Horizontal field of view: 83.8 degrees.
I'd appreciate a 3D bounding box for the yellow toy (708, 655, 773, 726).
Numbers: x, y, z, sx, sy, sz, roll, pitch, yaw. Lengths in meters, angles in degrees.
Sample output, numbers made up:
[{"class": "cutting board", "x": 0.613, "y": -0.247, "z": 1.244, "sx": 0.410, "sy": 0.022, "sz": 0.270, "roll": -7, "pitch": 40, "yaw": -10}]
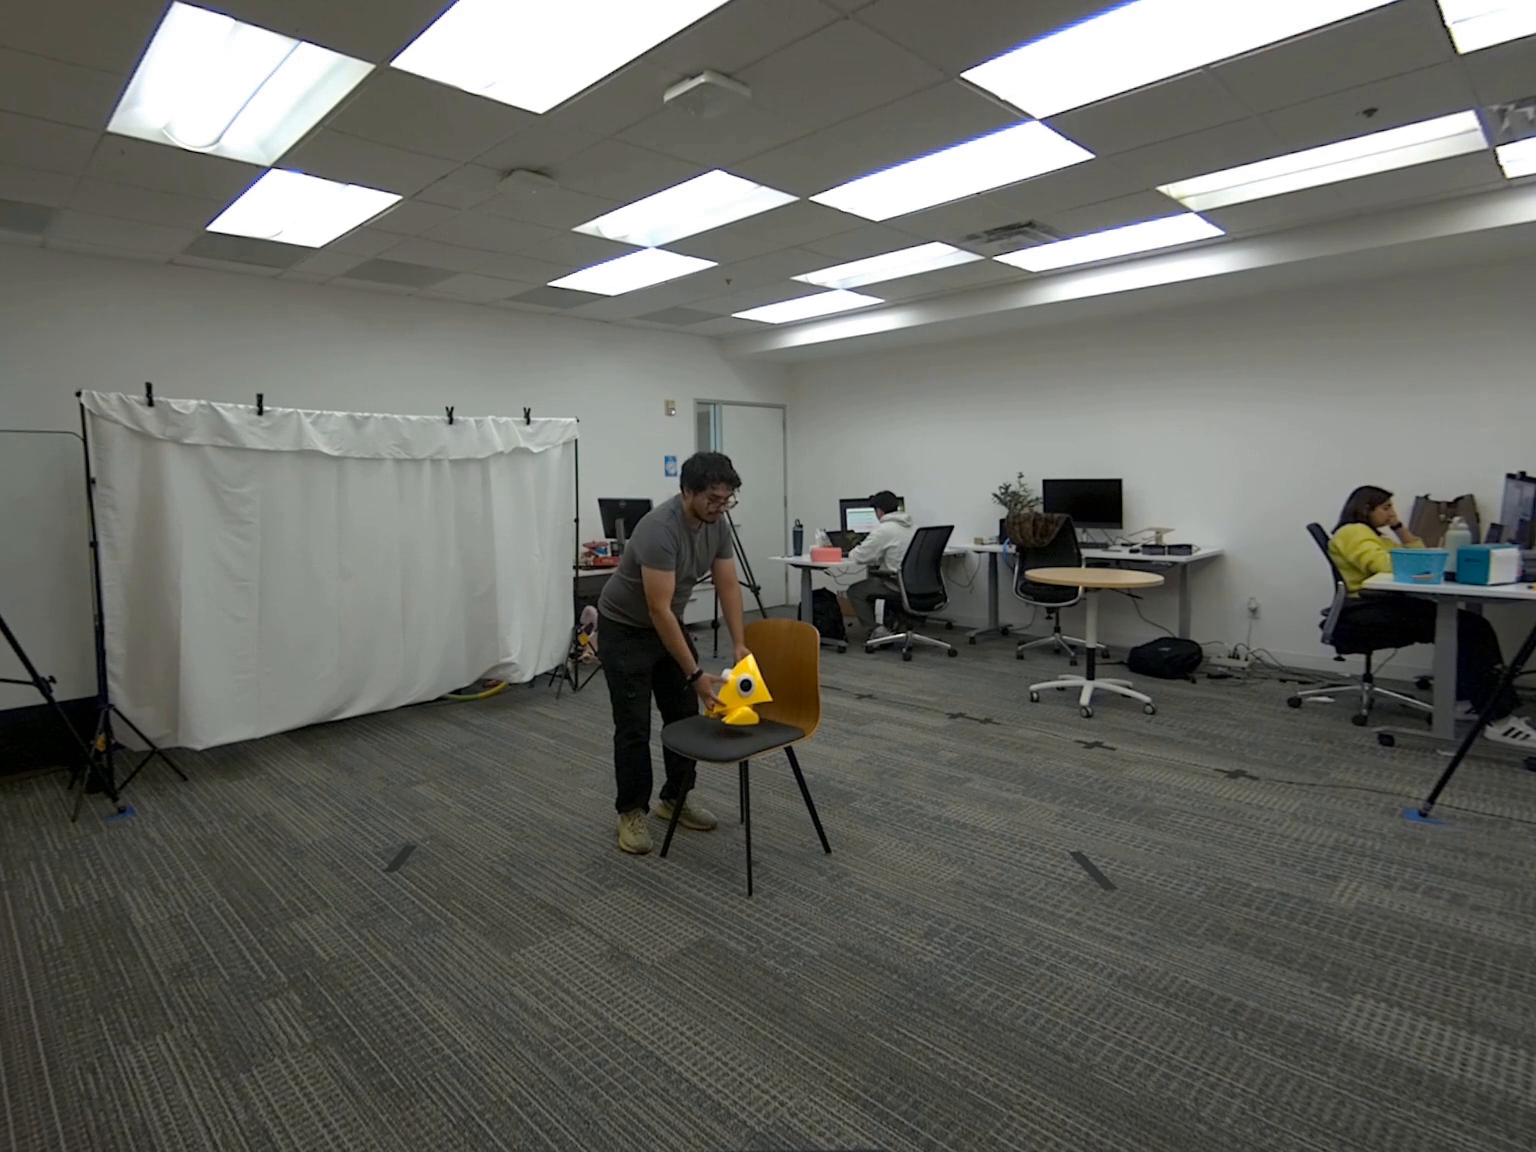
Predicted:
[{"class": "yellow toy", "x": -0.119, "y": 0.400, "z": 3.103, "sx": 0.187, "sy": 0.230, "sz": 0.211, "roll": 5, "pitch": 2, "yaw": -44}]
